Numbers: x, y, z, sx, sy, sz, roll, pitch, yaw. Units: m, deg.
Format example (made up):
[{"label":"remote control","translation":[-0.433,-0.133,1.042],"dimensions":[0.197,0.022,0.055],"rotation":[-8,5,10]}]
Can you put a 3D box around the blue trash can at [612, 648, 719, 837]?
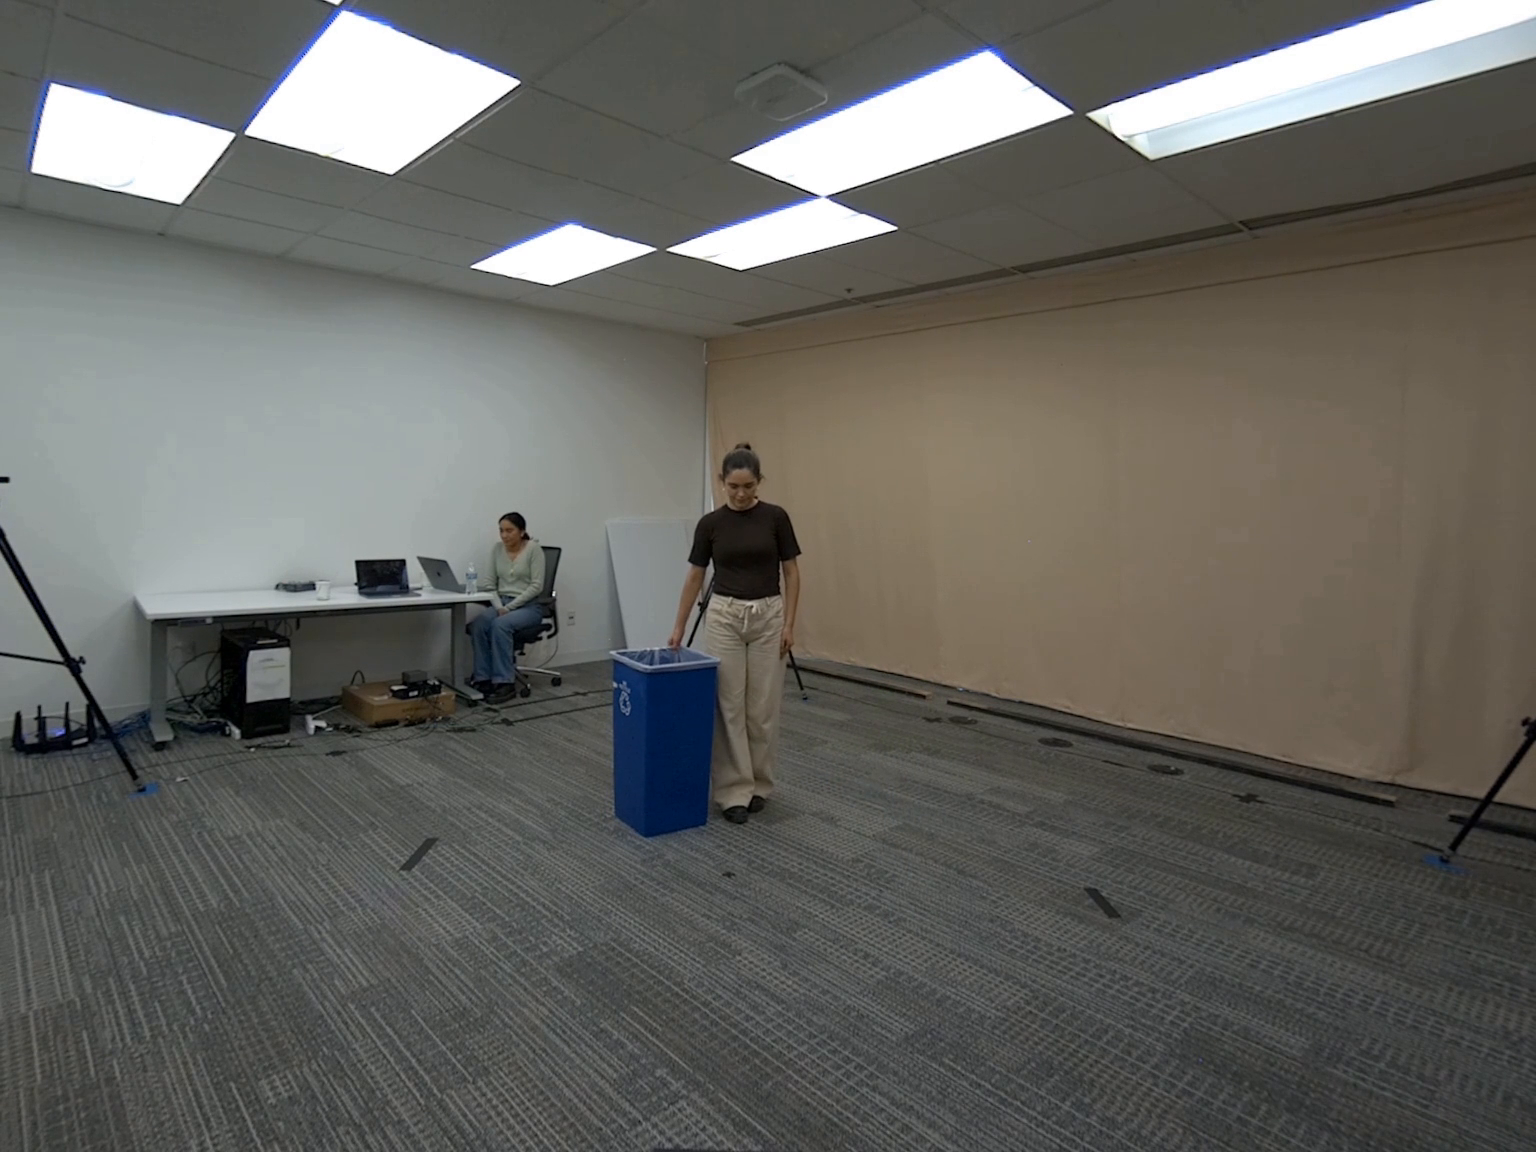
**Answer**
[{"label":"blue trash can","translation":[-0.465,0.694,3.598],"dimensions":[0.366,0.712,0.387],"rotation":[0,4,-35]}]
